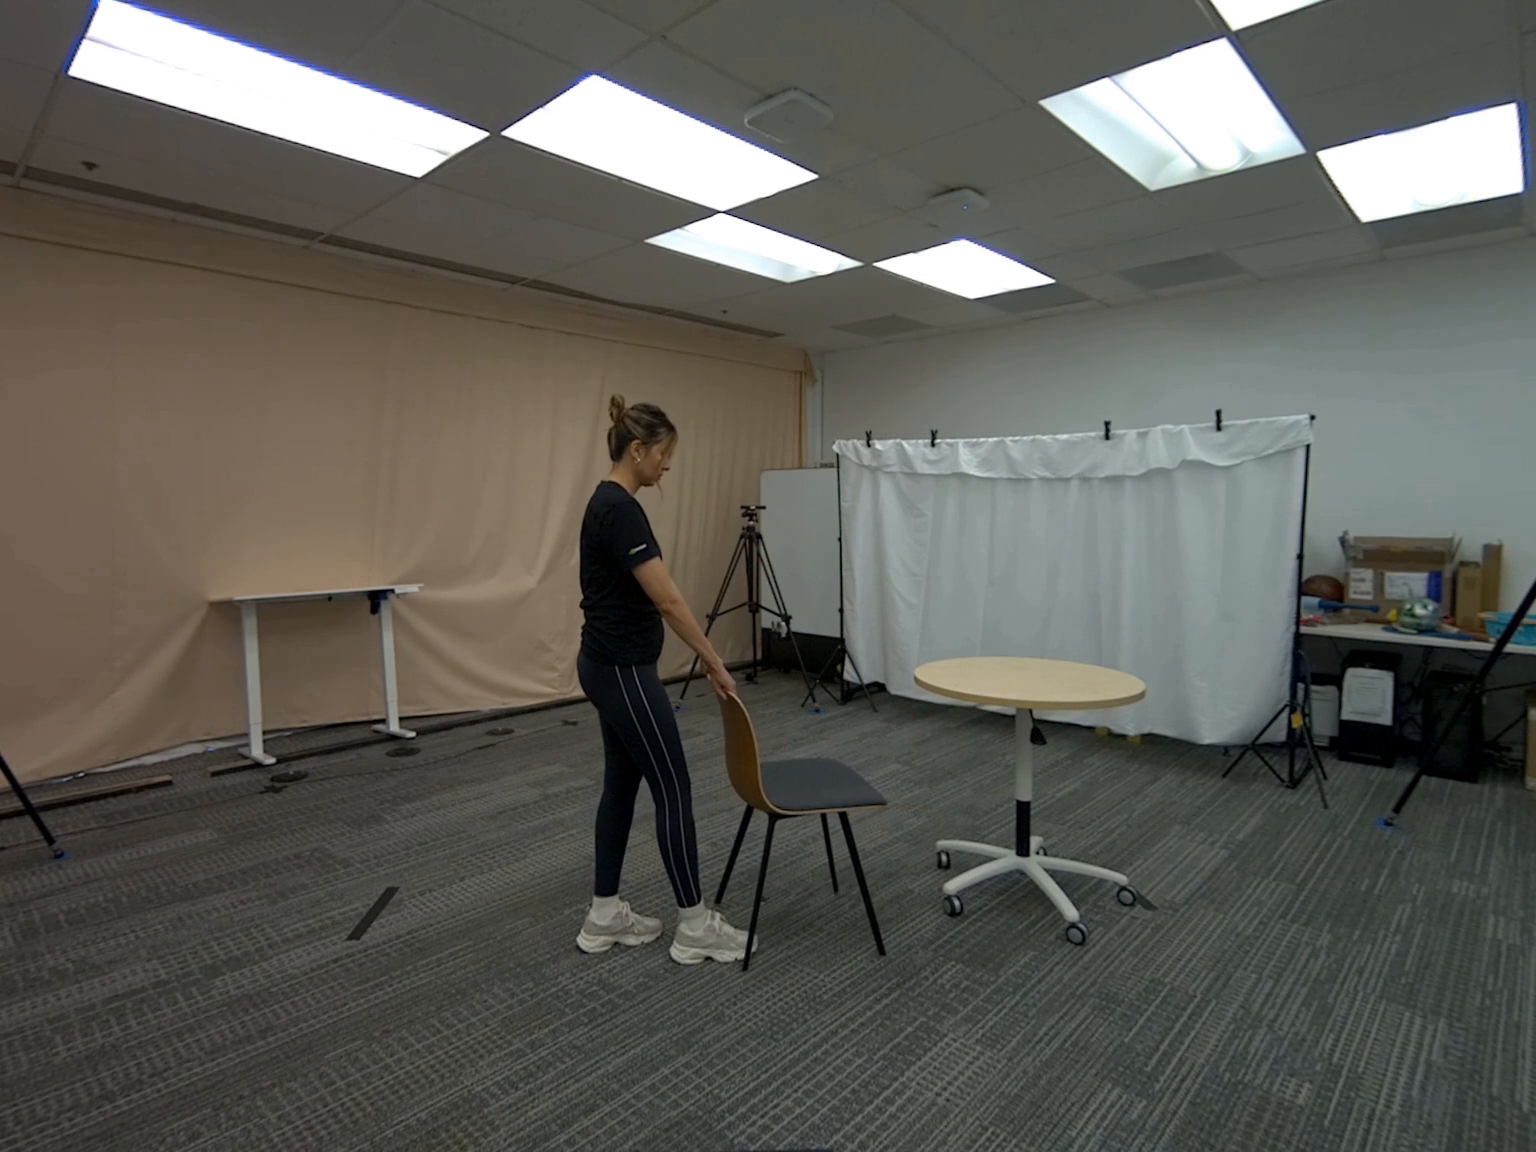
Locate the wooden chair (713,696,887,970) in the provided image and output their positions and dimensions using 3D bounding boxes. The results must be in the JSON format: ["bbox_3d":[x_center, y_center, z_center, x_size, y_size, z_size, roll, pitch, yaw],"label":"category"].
[{"bbox_3d":[0.100,0.737,2.756,0.517,0.875,0.485,-5,4,-13],"label":"wooden chair"}]
